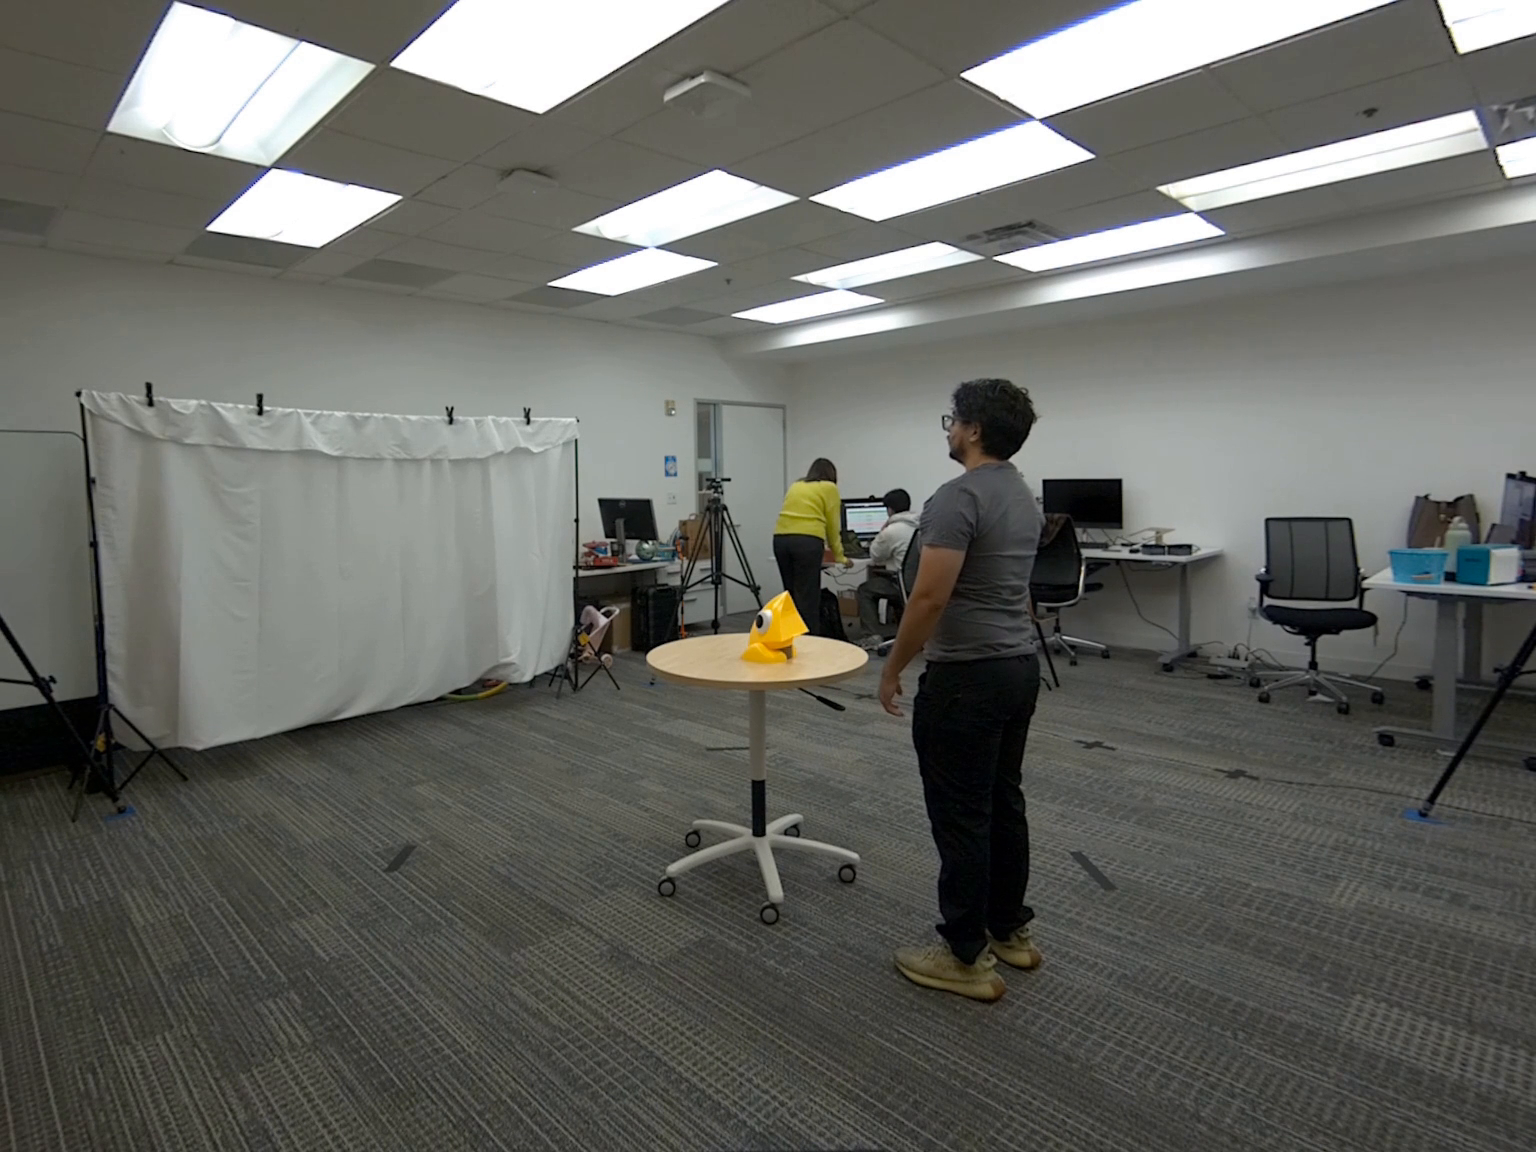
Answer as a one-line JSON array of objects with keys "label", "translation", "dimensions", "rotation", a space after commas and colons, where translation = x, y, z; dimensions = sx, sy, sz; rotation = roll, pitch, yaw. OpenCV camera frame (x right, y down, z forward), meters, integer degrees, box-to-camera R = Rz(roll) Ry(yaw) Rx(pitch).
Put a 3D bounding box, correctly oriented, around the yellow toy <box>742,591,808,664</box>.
[{"label": "yellow toy", "translation": [0.015, 0.163, 2.927], "dimensions": [0.198, 0.230, 0.200], "rotation": [2, 6, 29]}]
